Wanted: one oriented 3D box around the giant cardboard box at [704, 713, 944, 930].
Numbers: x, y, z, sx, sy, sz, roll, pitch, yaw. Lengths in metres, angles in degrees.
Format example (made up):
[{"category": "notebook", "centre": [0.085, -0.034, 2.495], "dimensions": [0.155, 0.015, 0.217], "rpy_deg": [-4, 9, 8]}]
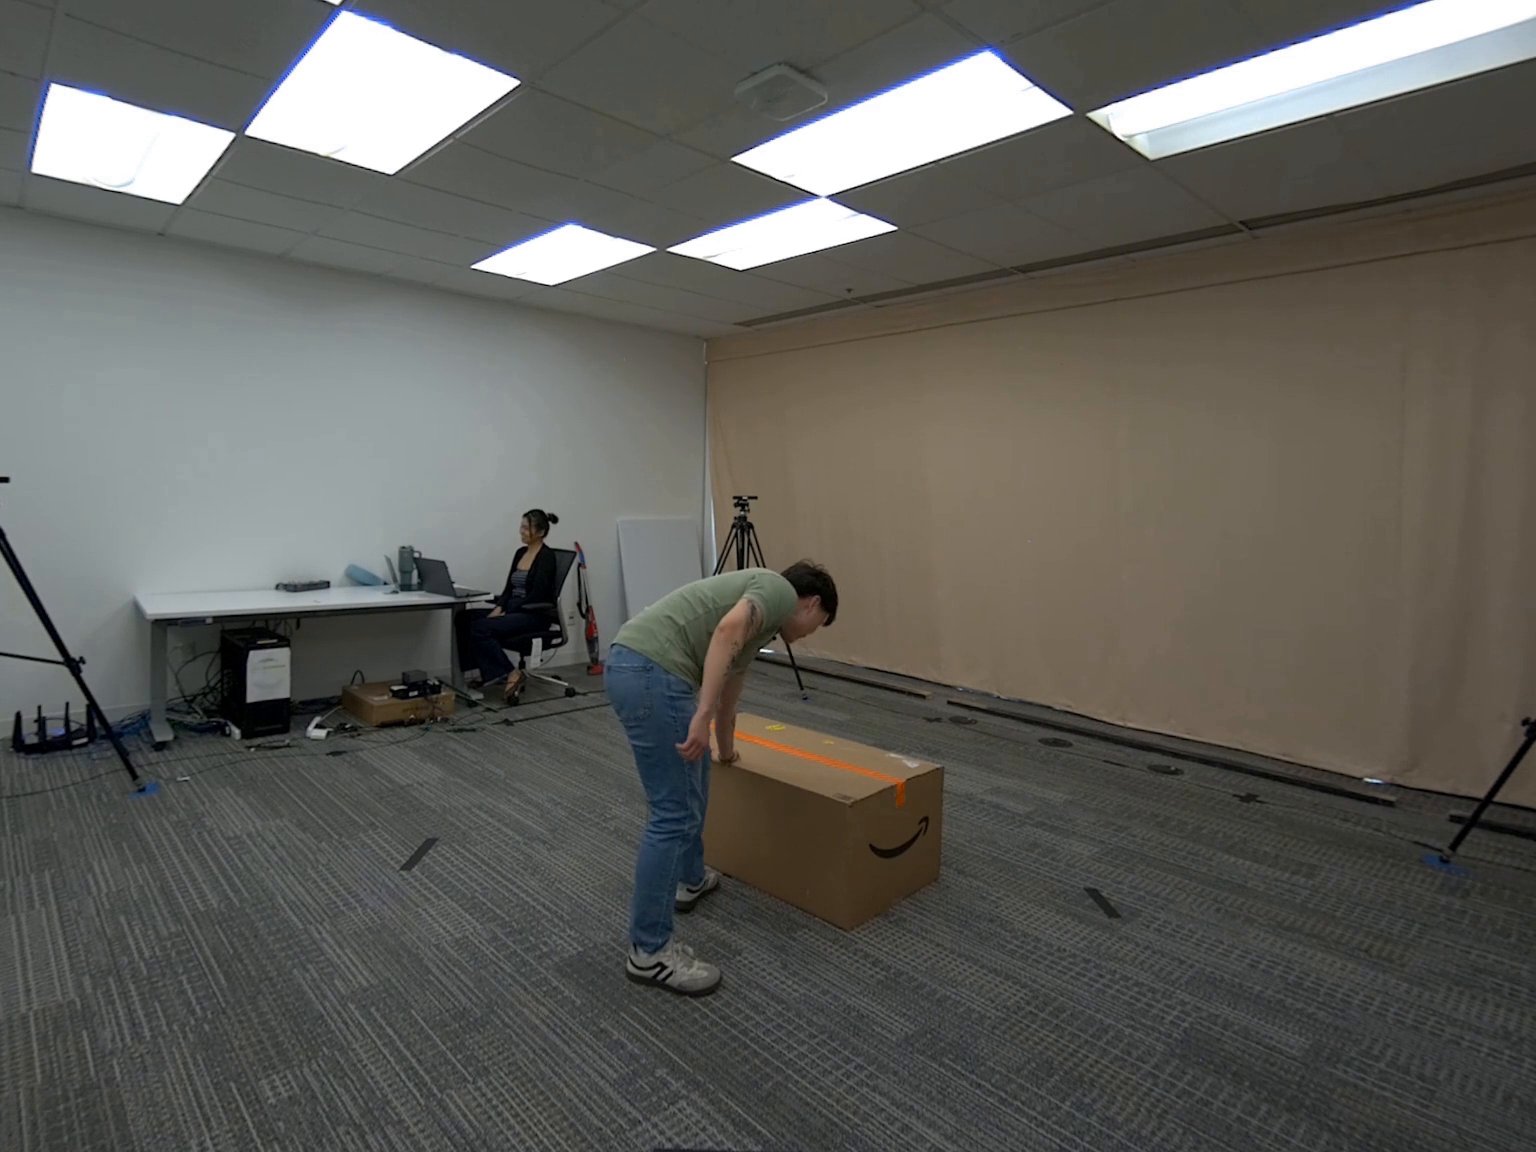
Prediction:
[{"category": "giant cardboard box", "centre": [0.070, 0.882, 3.260], "dimensions": [1.052, 0.425, 0.564], "rpy_deg": [6, 6, 44]}]
